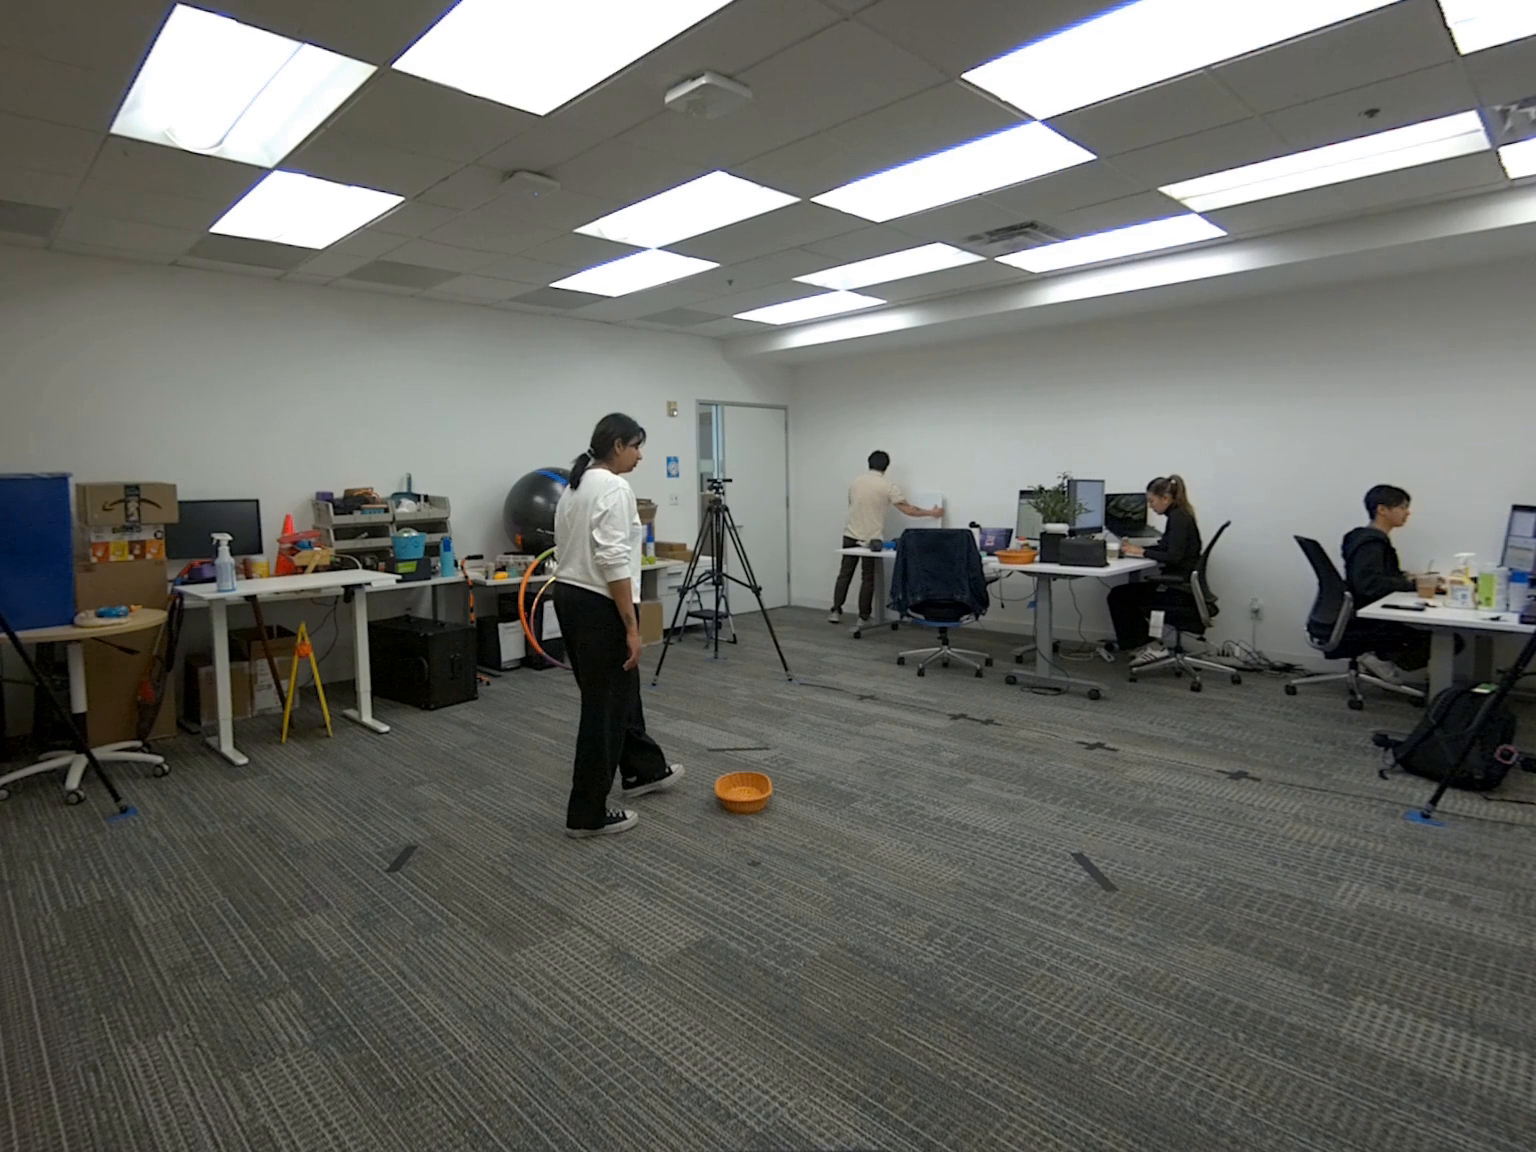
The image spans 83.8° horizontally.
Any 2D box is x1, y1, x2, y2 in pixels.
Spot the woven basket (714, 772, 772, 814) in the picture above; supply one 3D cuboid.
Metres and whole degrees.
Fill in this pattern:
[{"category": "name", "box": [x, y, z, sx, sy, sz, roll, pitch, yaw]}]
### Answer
[{"category": "woven basket", "box": [-0.106, 0.939, 3.710, 0.252, 0.073, 0.352, -3, 6, -1]}]
